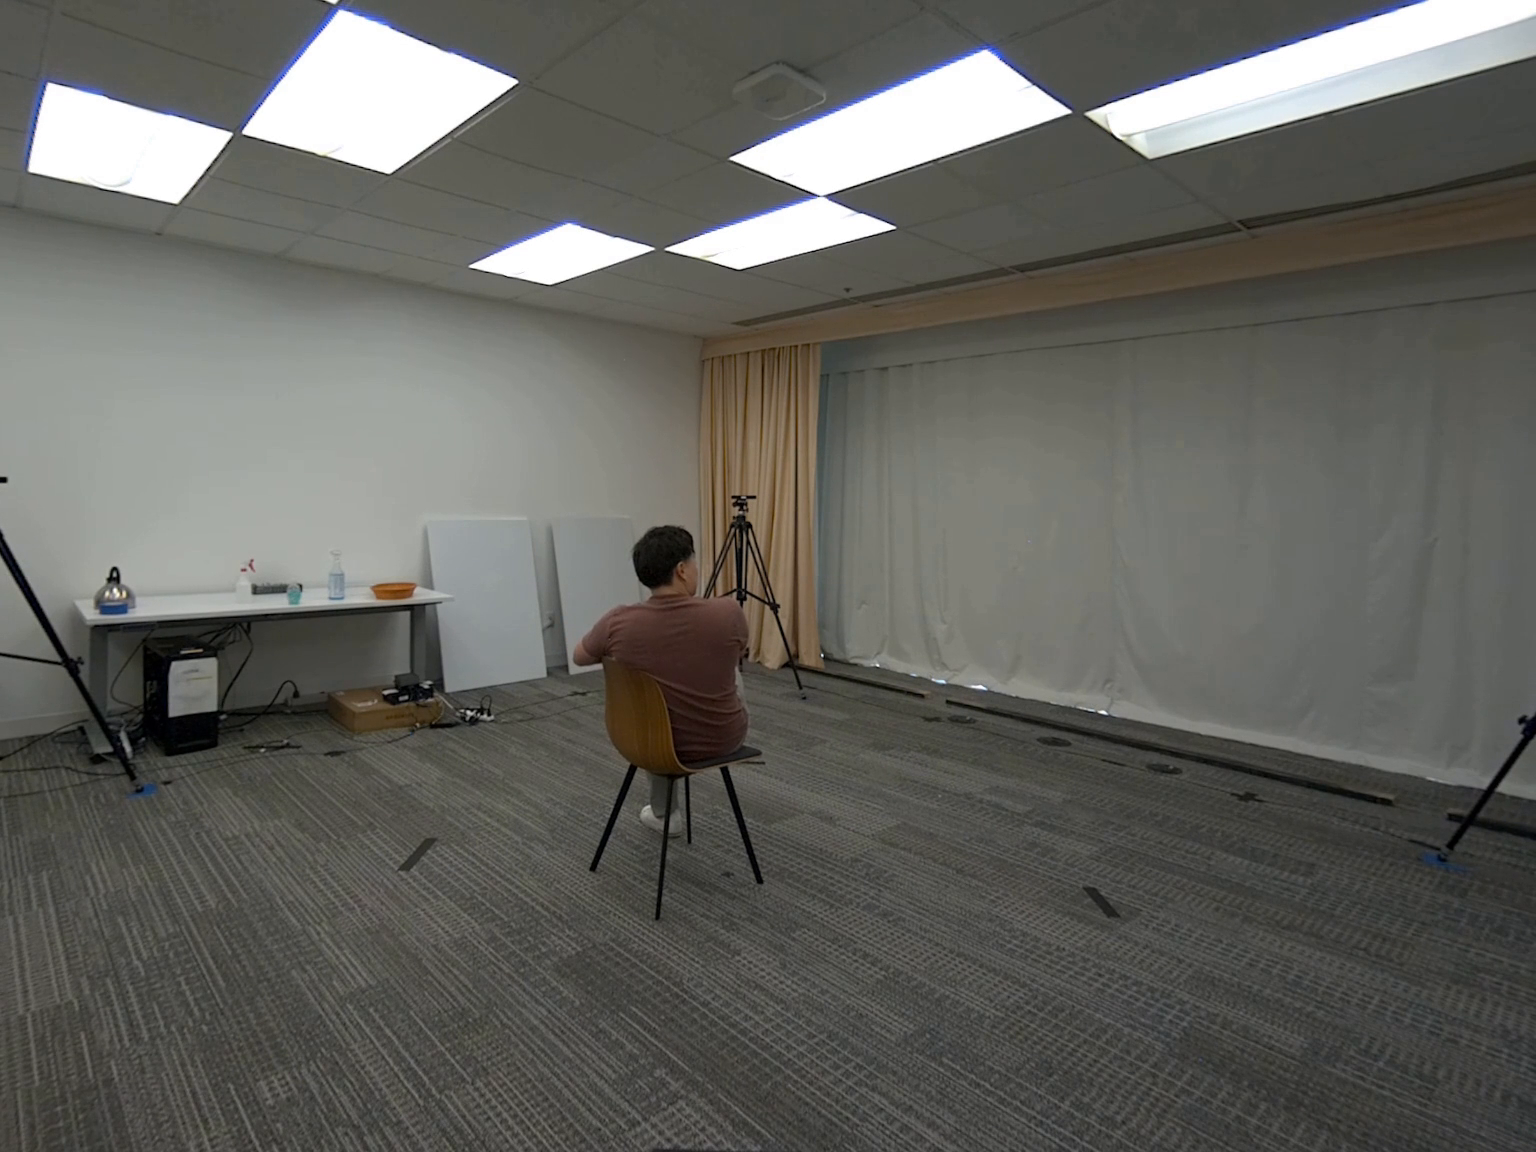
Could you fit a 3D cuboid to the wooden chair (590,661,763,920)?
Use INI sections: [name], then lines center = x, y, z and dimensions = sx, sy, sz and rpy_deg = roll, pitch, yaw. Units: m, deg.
[wooden chair]
center = -0.325, 0.677, 3.041
dimensions = 0.512, 0.873, 0.490
rpy_deg = -7, 8, -39
